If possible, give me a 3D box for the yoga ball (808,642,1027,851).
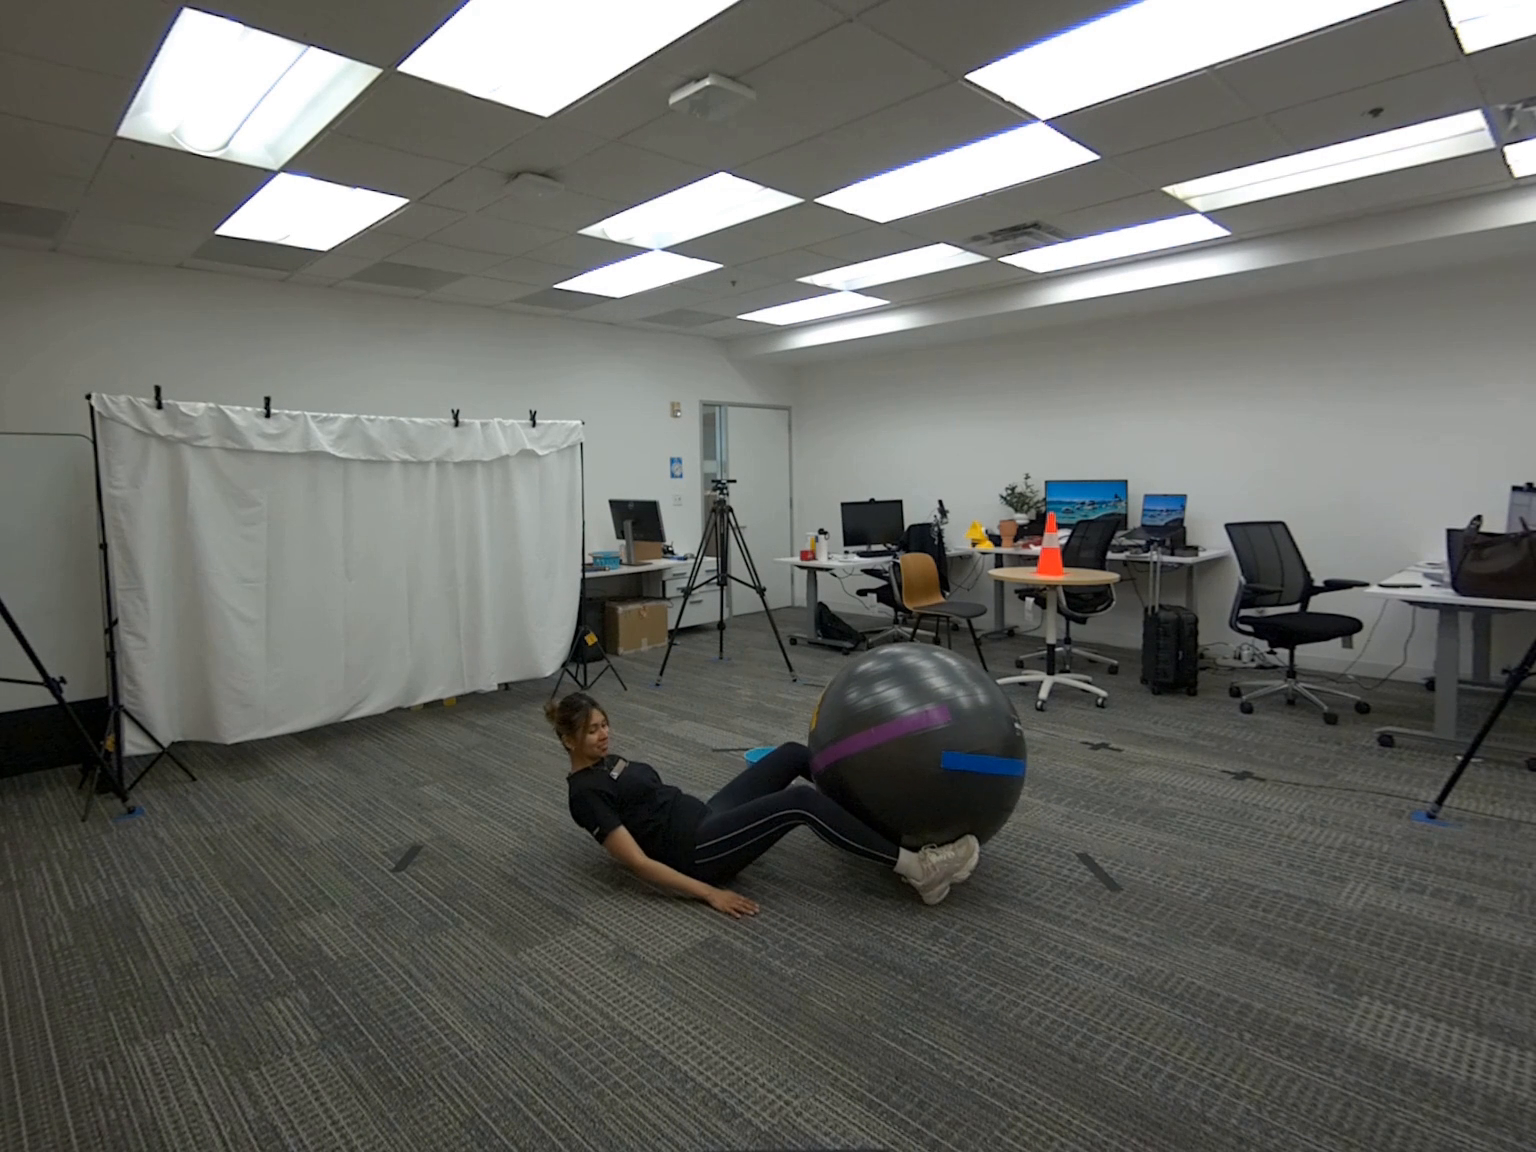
[{"bbox_3d":[0.532,0.618,3.050,0.757,0.755,0.762,-1,5,-2],"label":"yoga ball"}]
